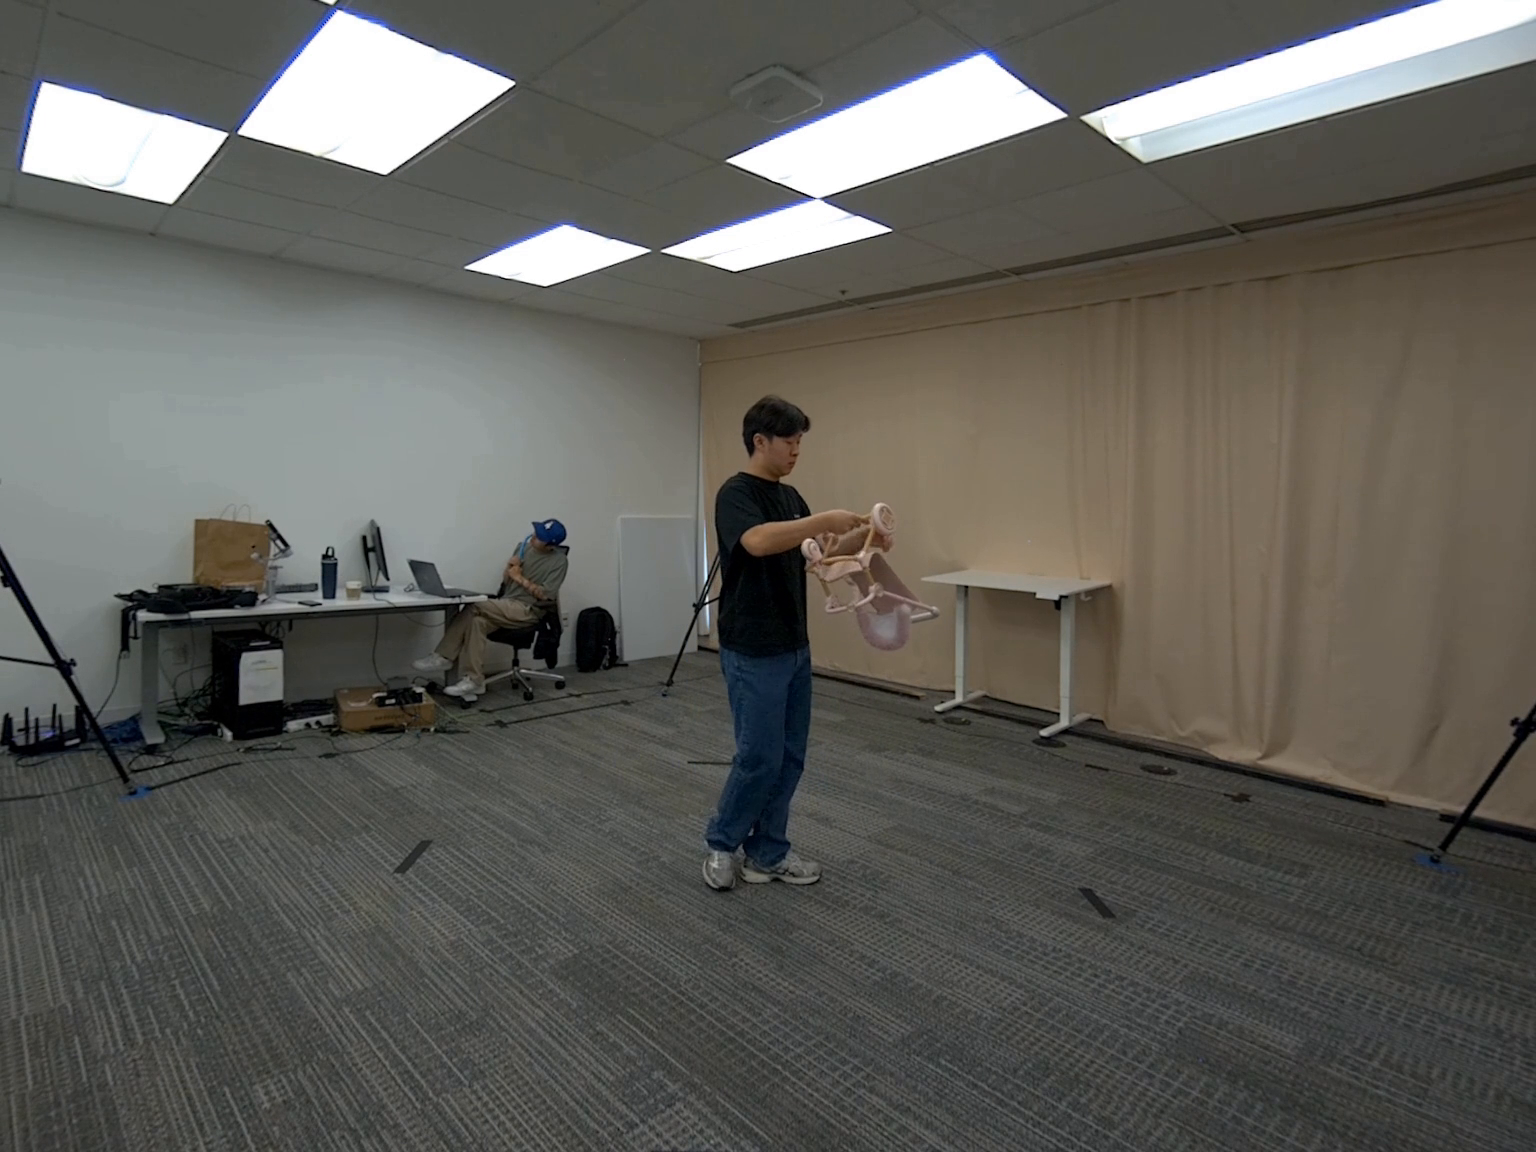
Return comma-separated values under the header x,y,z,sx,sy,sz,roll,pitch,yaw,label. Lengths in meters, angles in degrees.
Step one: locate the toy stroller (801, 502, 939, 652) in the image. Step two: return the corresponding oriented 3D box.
x,y,z,sx,sy,sz,roll,pitch,yaw,label
0.311,0.023,2.779,0.285,0.528,0.341,-20,18,42,toy stroller
